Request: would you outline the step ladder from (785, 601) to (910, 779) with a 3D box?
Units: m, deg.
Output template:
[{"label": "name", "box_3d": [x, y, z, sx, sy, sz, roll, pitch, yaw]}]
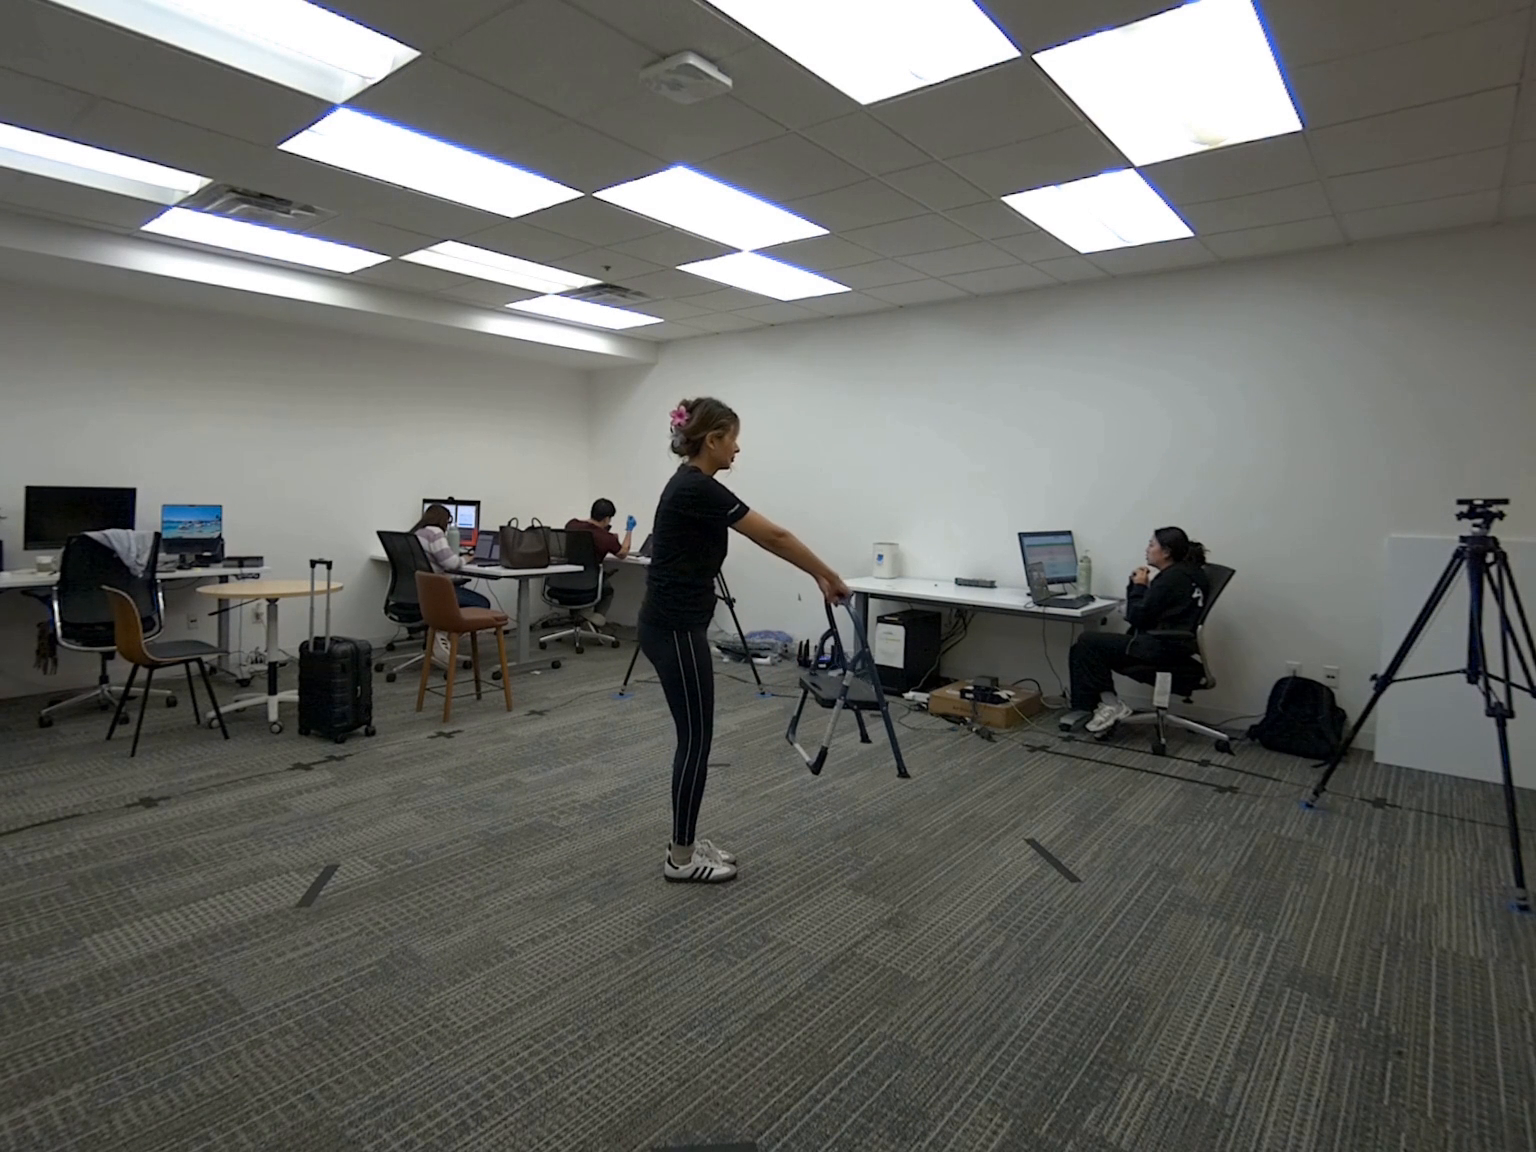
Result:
[{"label": "step ladder", "box_3d": [0.287, 0.372, 3.105, 0.345, 0.604, 0.437, 3, 4, -12]}]
